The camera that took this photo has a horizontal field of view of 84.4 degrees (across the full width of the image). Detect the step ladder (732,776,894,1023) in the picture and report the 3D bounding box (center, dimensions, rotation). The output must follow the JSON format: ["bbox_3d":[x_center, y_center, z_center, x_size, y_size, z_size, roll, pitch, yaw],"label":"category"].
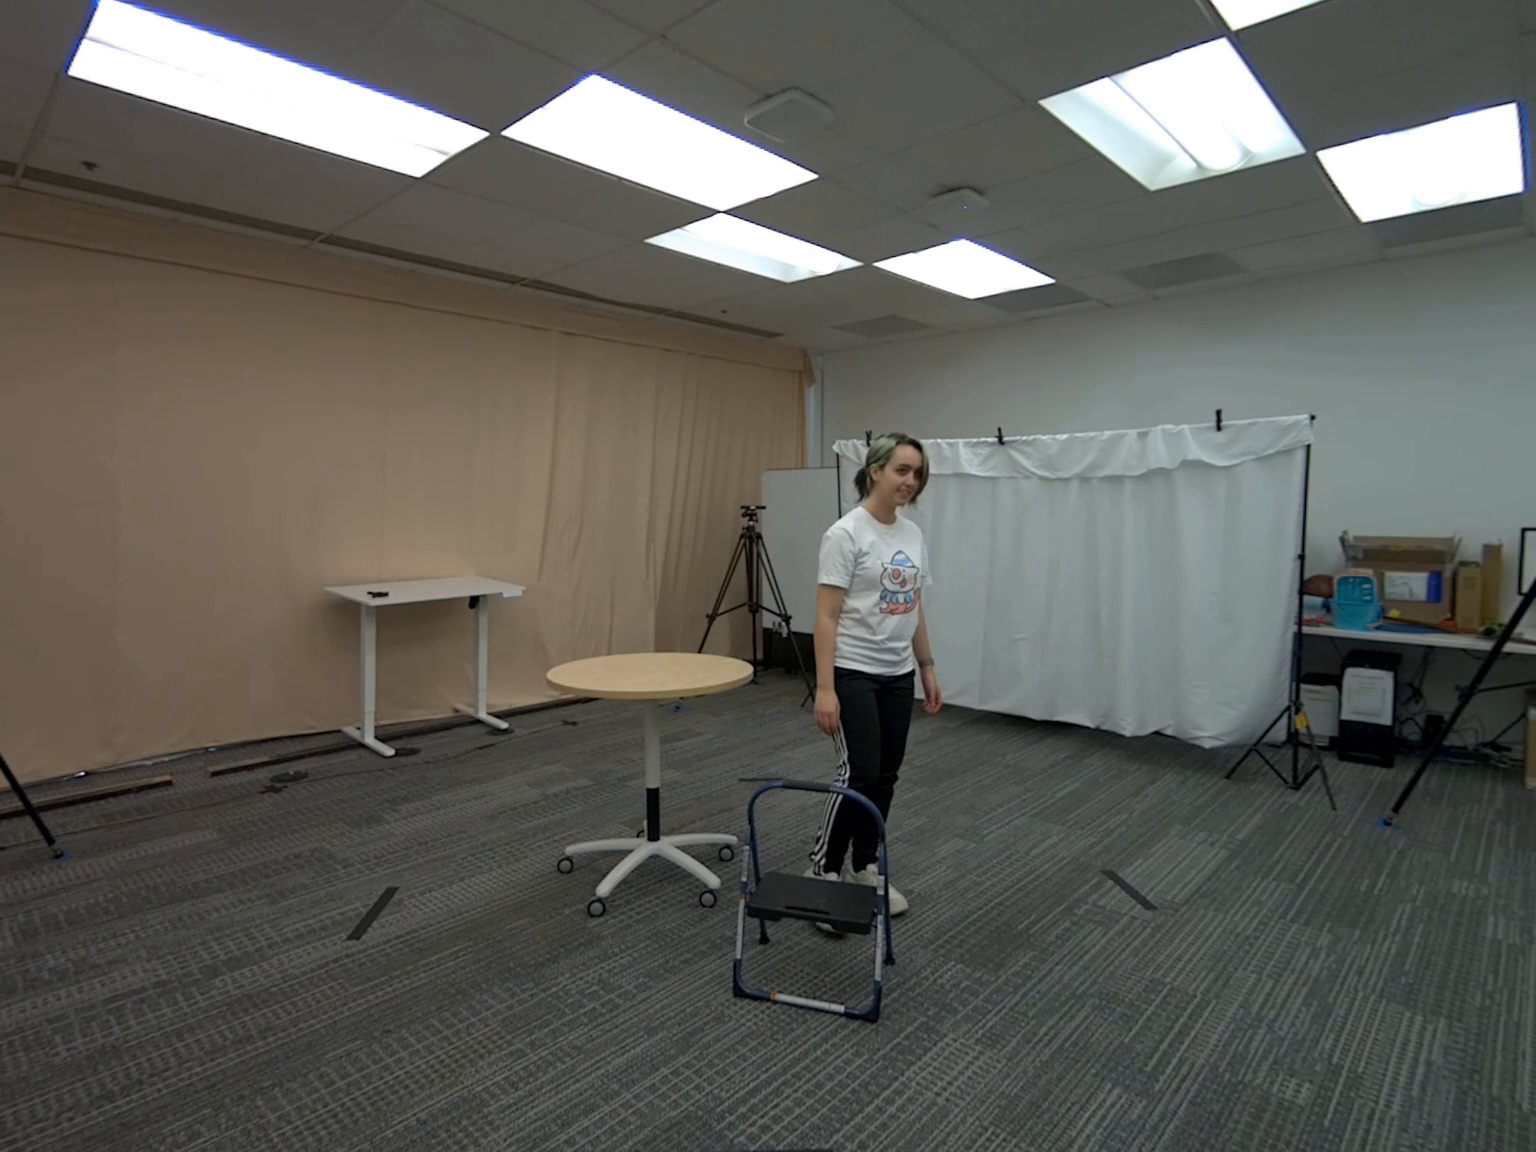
[{"bbox_3d":[0.137,0.885,2.466,0.439,0.605,0.343,1,3,17],"label":"step ladder"}]
